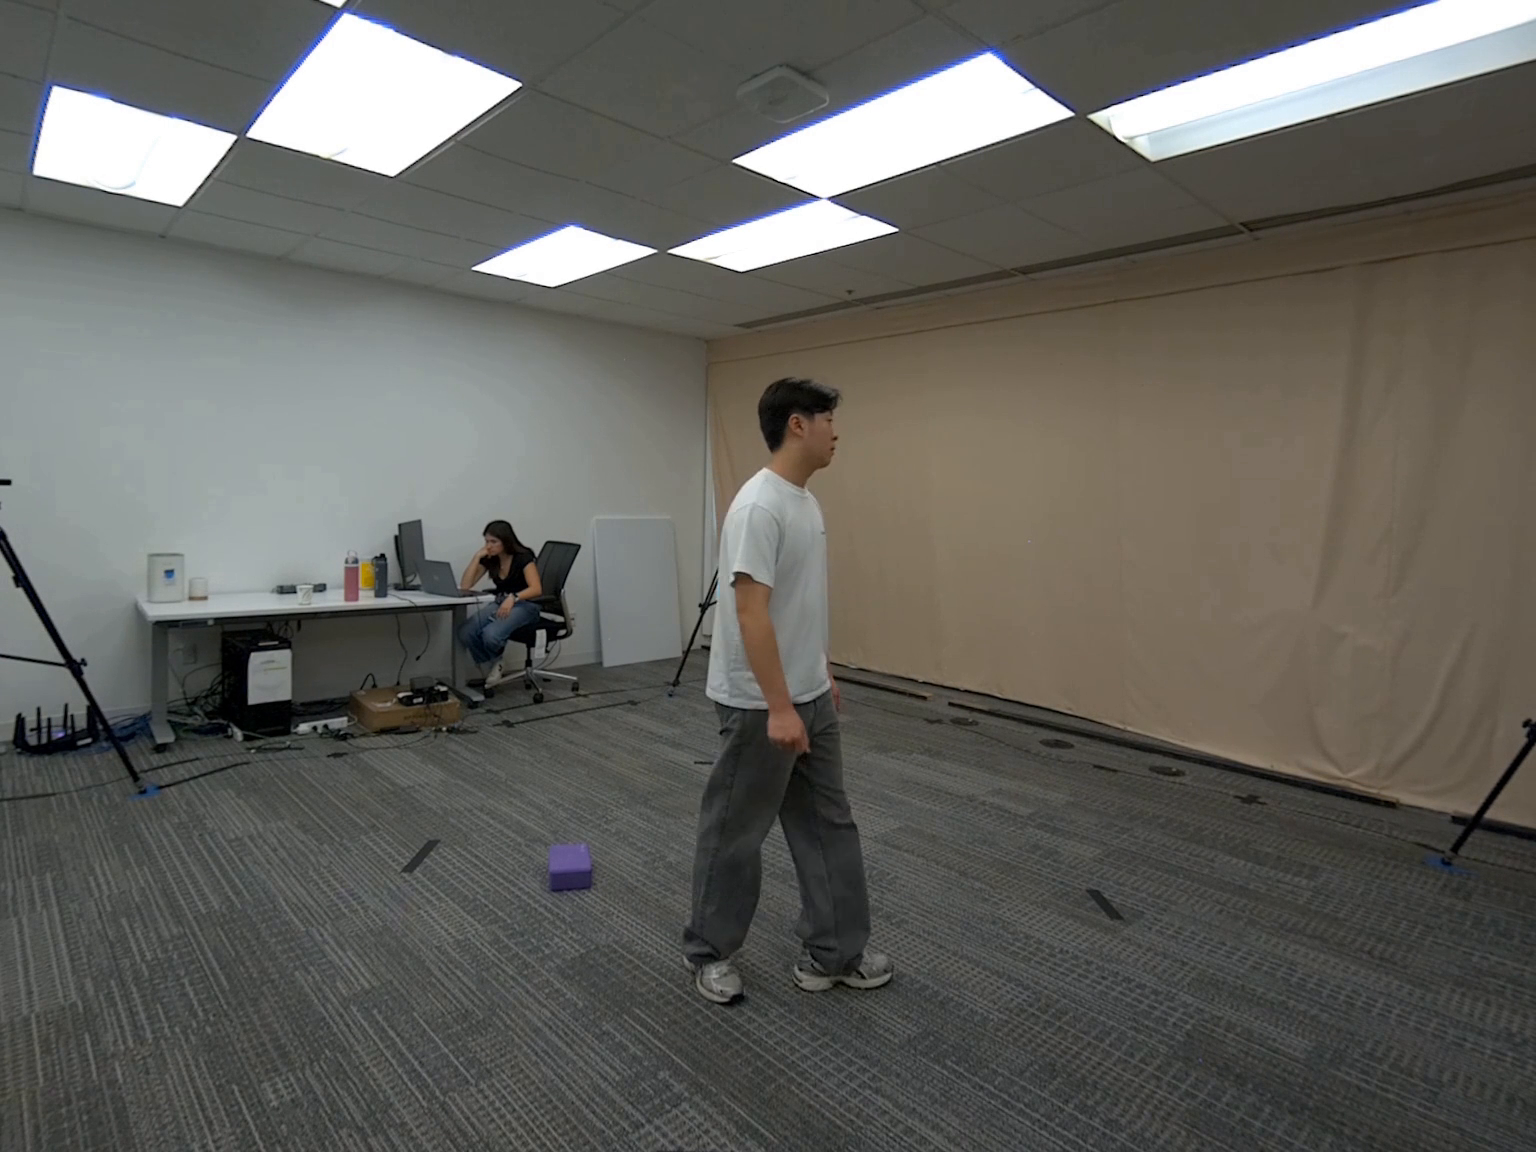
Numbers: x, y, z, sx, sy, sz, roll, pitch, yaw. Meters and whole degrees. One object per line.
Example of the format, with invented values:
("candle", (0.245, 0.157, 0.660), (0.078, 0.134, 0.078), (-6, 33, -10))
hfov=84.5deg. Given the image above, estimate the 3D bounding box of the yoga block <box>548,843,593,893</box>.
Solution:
("yoga block", (-0.731, 1.061, 3.065), (0.147, 0.076, 0.232), (0, 6, -14))
